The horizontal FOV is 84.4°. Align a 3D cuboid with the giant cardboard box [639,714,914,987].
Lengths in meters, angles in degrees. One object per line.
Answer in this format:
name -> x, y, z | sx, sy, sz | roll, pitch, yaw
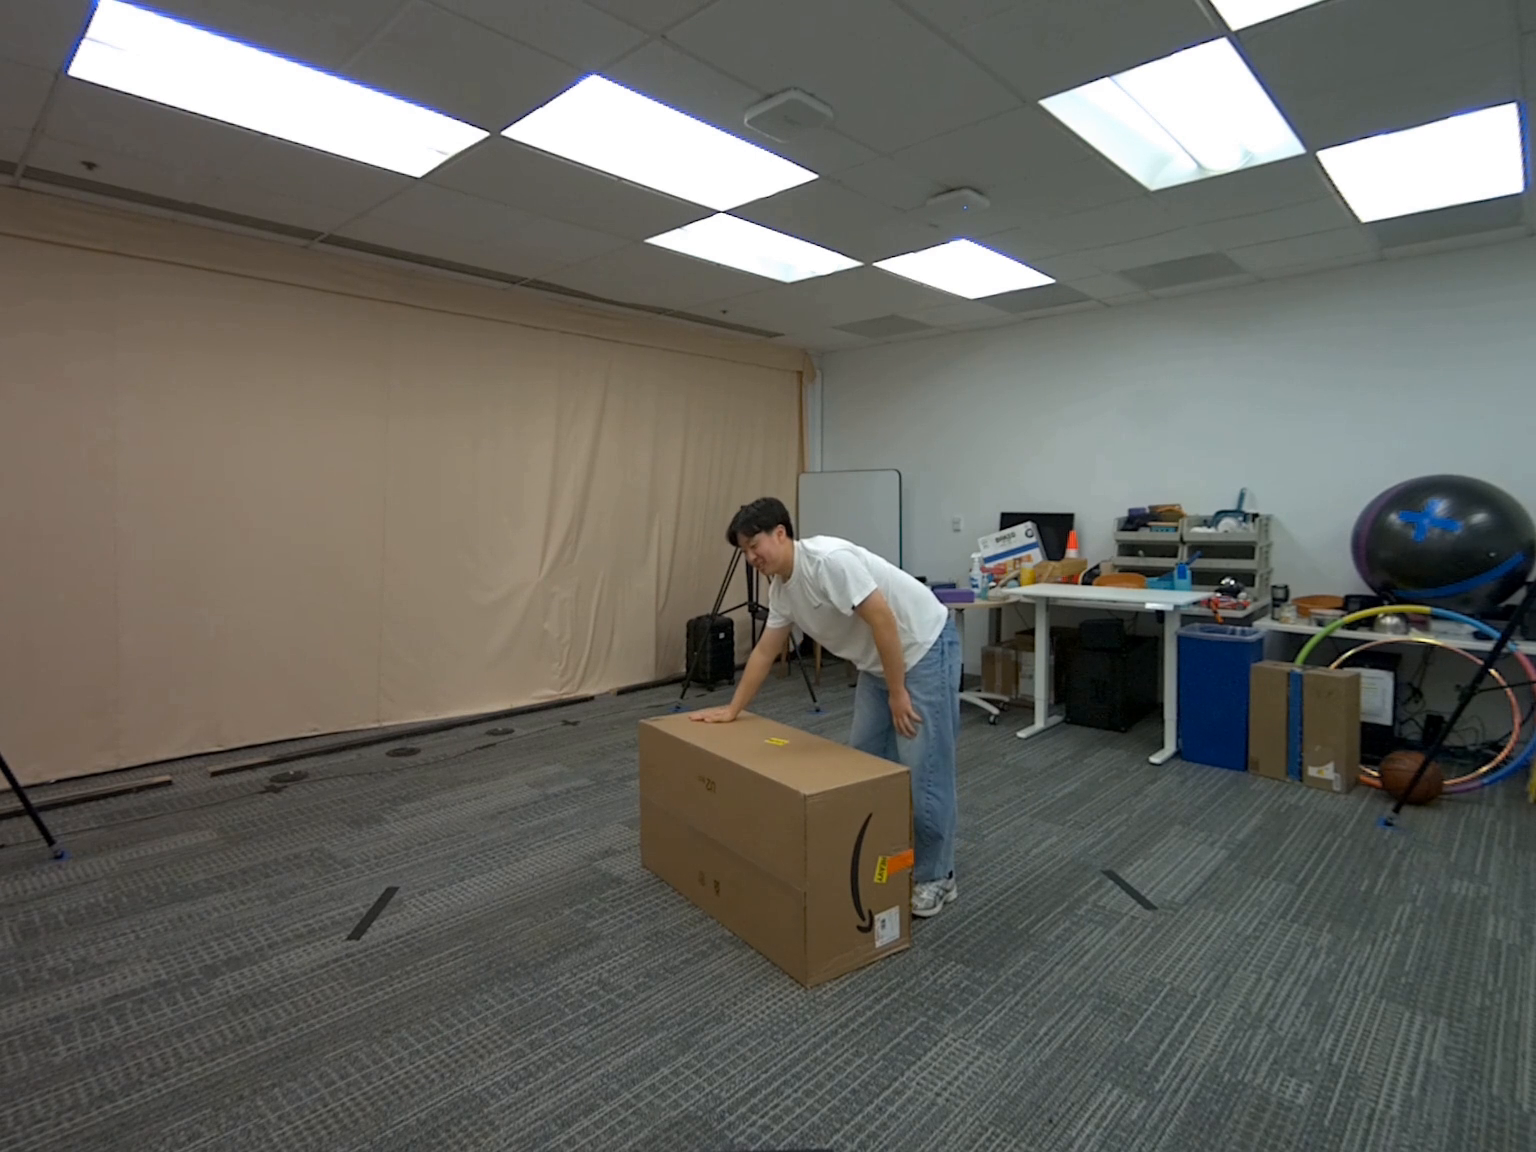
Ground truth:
giant cardboard box -> -0.023, 0.861, 2.945 | 0.414, 0.576, 1.058 | -3, 5, -35
